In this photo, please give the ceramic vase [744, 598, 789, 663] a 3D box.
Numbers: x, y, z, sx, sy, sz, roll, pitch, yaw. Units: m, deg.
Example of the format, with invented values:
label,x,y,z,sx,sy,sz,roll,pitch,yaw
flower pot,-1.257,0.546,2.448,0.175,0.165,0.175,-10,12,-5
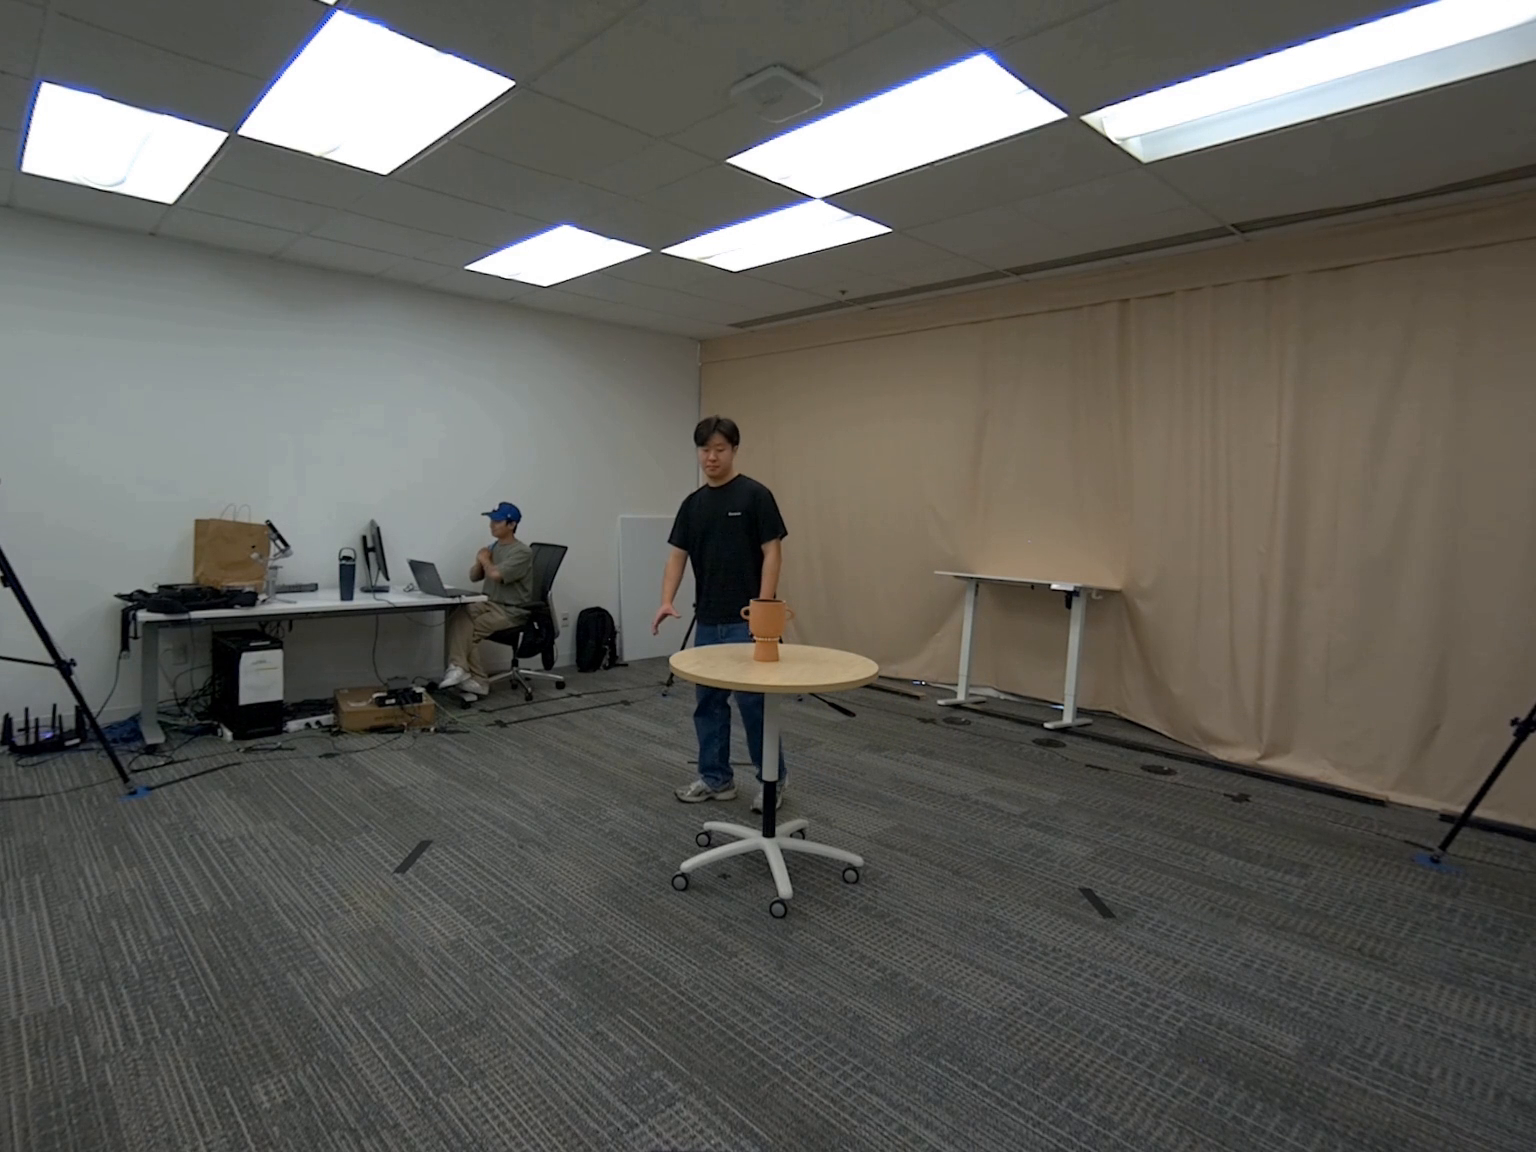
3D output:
label,x,y,z,sx,sy,sz,roll,pitch,yaw
ceramic vase,-0.013,0.202,3.132,0.162,0.219,0.132,3,4,36
